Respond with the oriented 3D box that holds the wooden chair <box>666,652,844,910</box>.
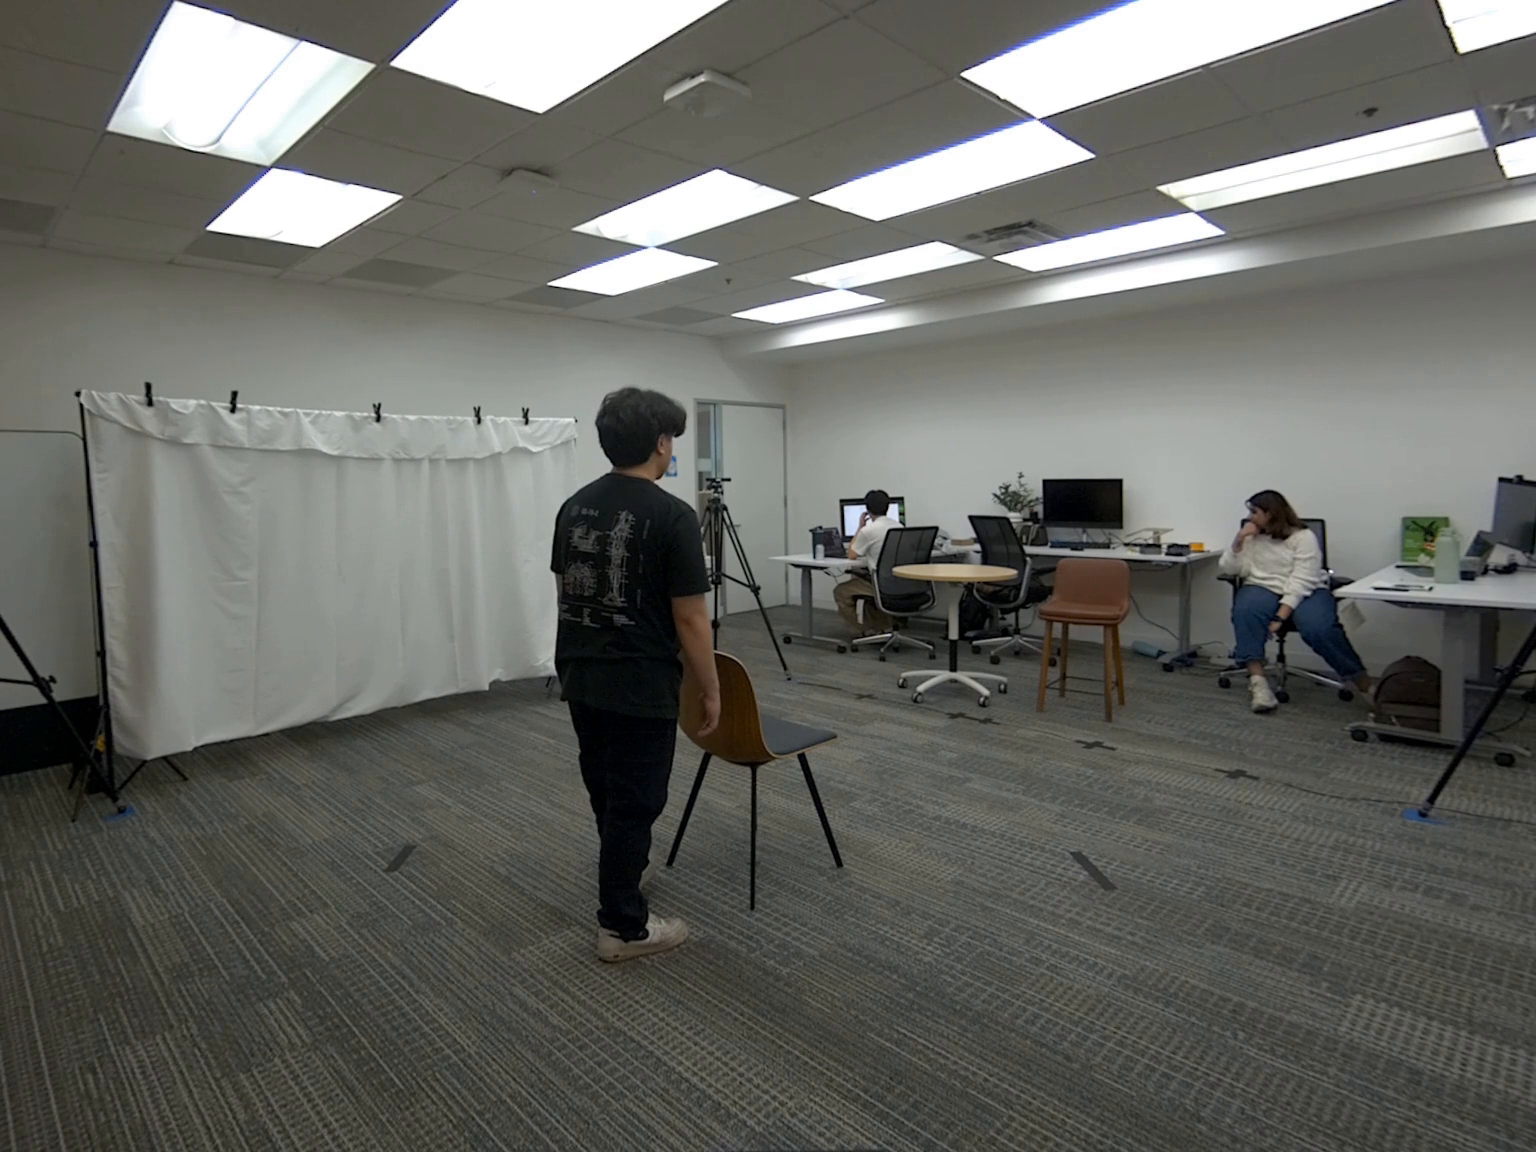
[{"bbox_3d":[-0.048,0.622,3.052,0.511,0.872,0.493,-11,9,-43],"label":"wooden chair"}]
